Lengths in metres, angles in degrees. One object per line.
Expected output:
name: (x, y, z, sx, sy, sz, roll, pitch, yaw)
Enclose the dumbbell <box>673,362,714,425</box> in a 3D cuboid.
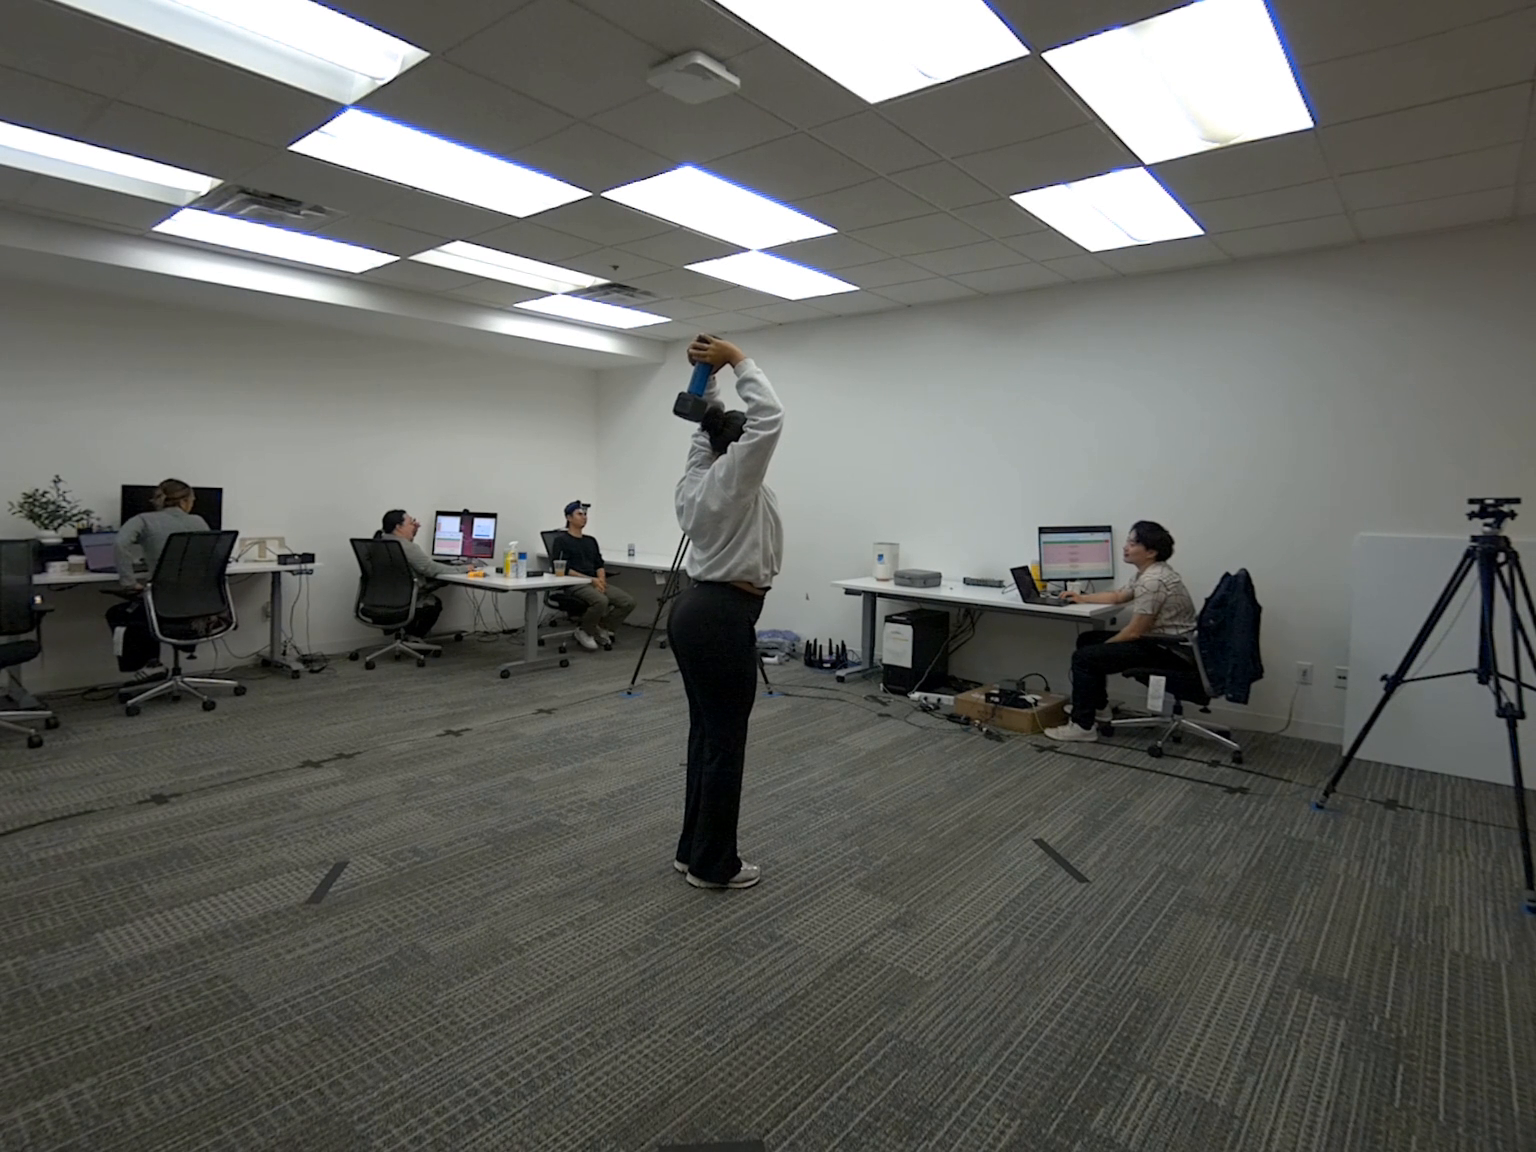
dumbbell: (-0.242, -0.680, 2.936, 0.126, 0.293, 0.106, 21, 3, 21)
